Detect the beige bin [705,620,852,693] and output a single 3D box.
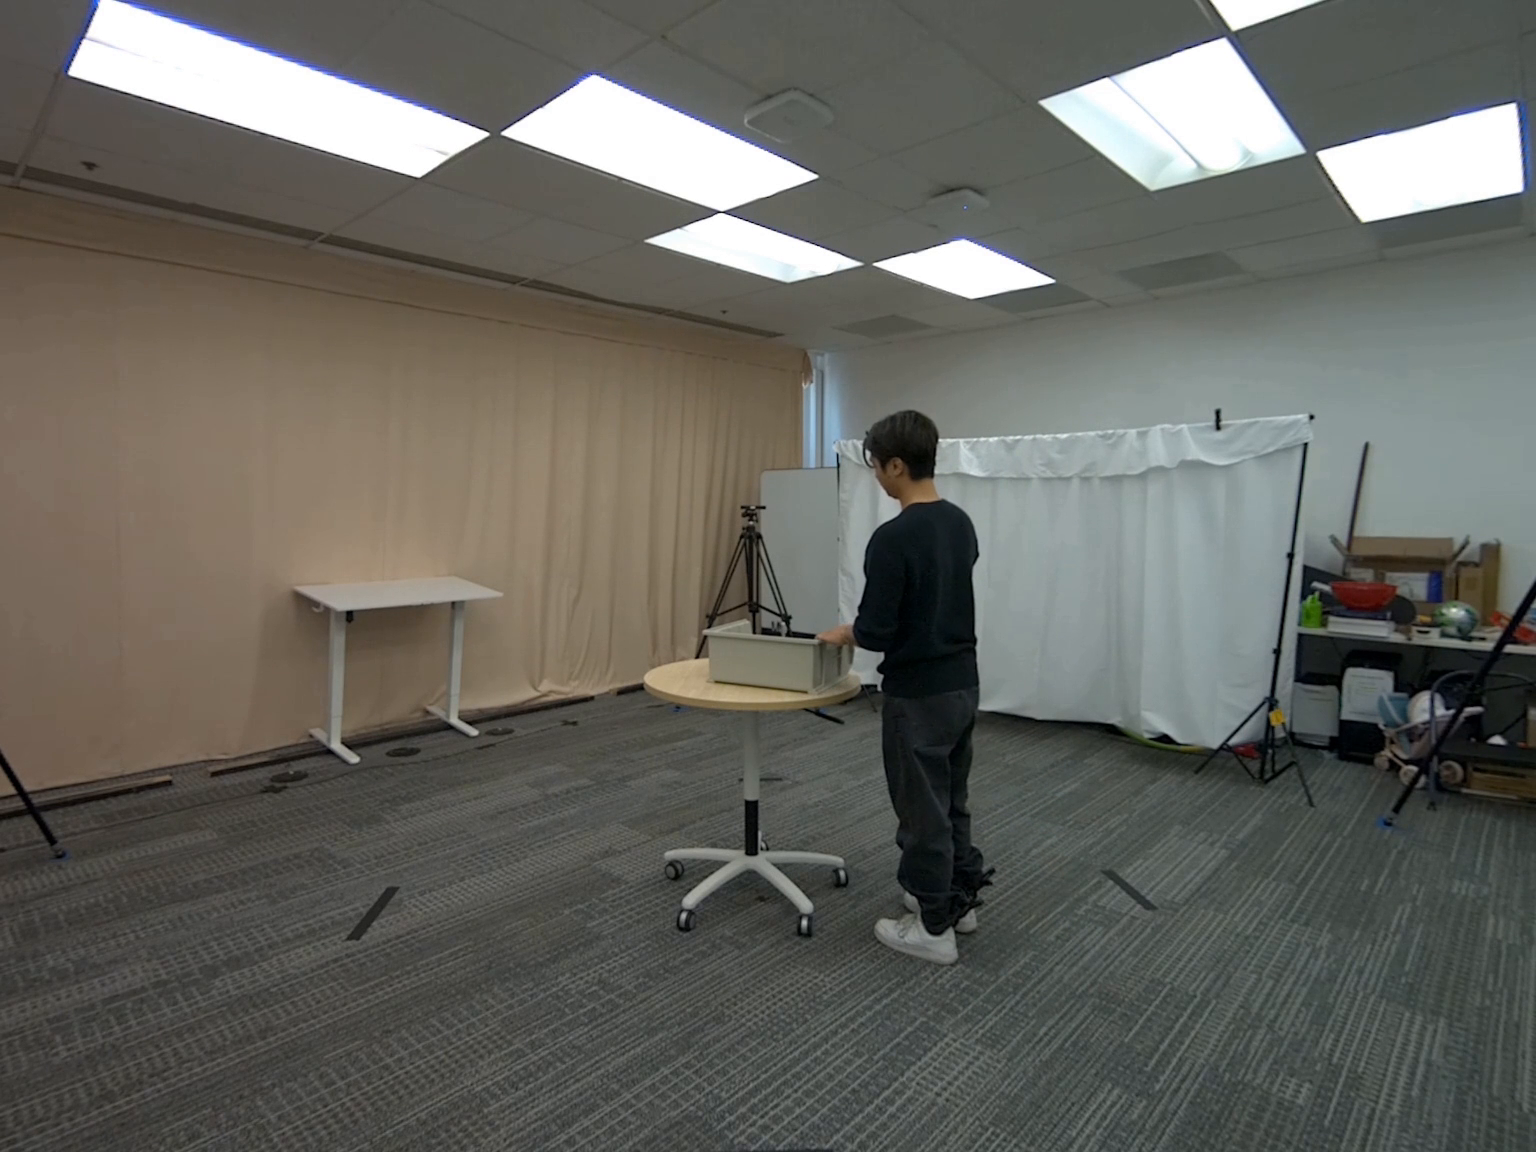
[{"bbox_3d":[0.048,0.271,2.956,0.433,0.188,0.369,3,7,26],"label":"beige bin"}]
